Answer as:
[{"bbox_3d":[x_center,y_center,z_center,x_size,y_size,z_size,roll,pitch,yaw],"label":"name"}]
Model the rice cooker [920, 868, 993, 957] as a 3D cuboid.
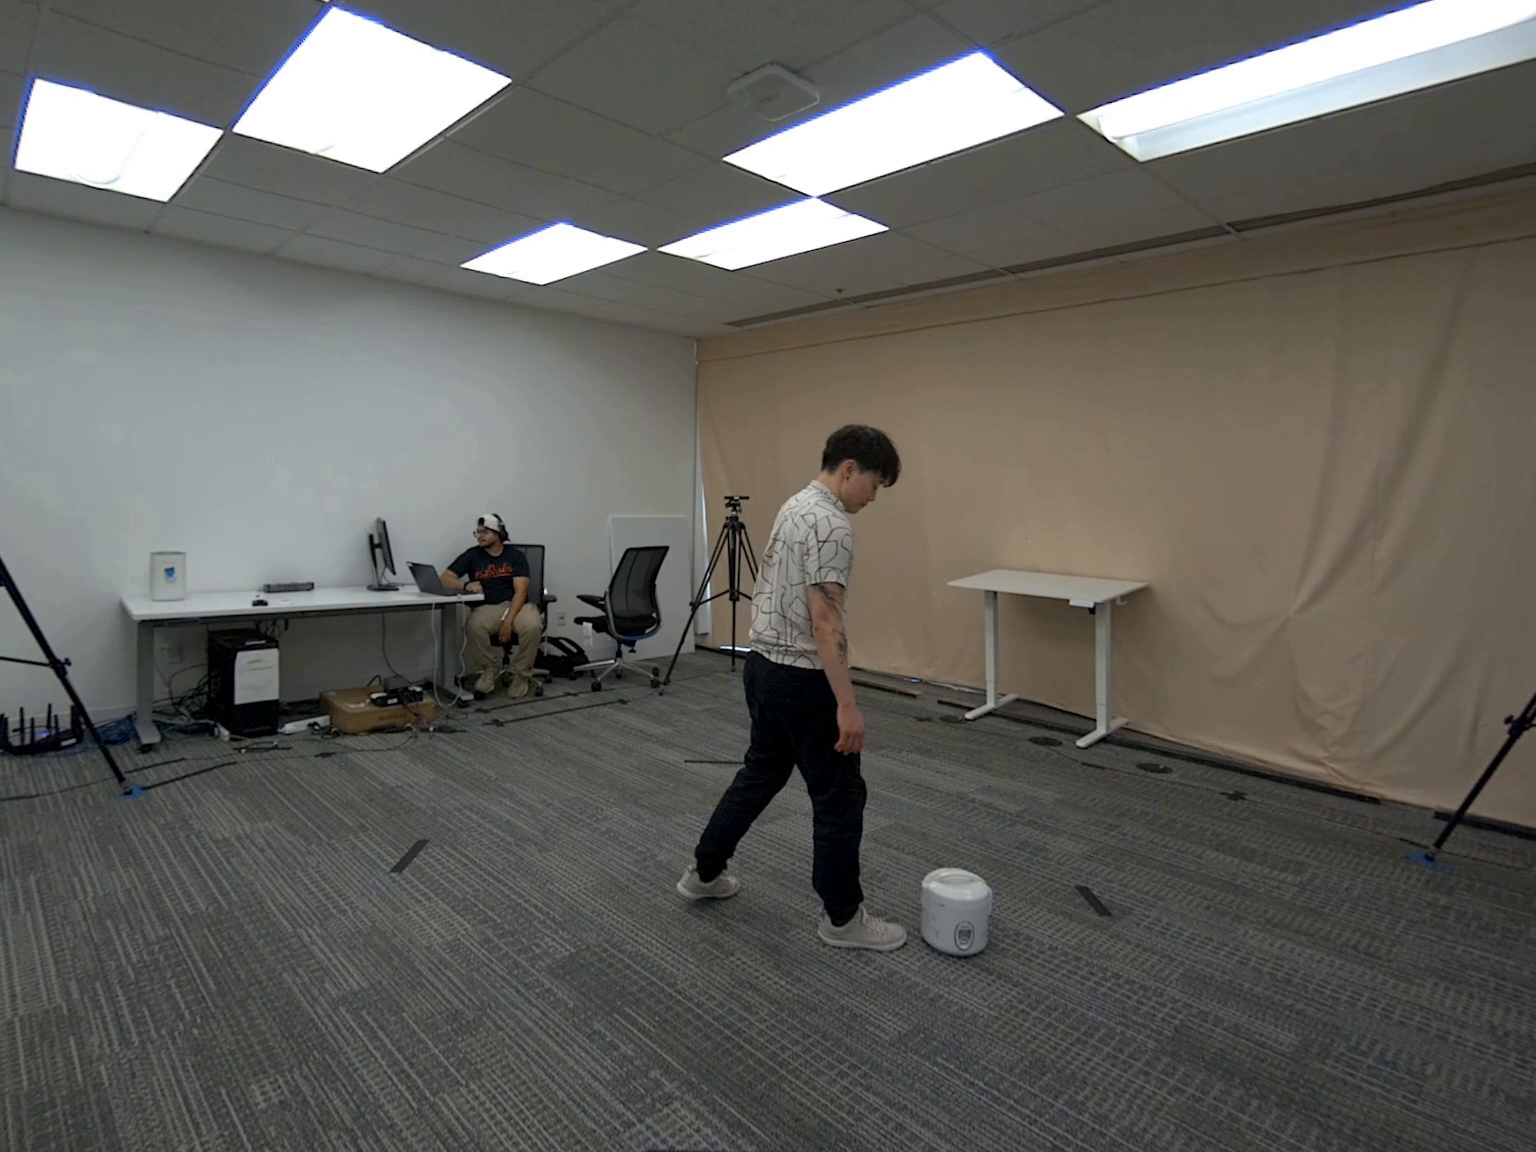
[{"bbox_3d":[0.584,1.044,2.659,0.220,0.232,0.218,1,4,-3],"label":"rice cooker"}]
